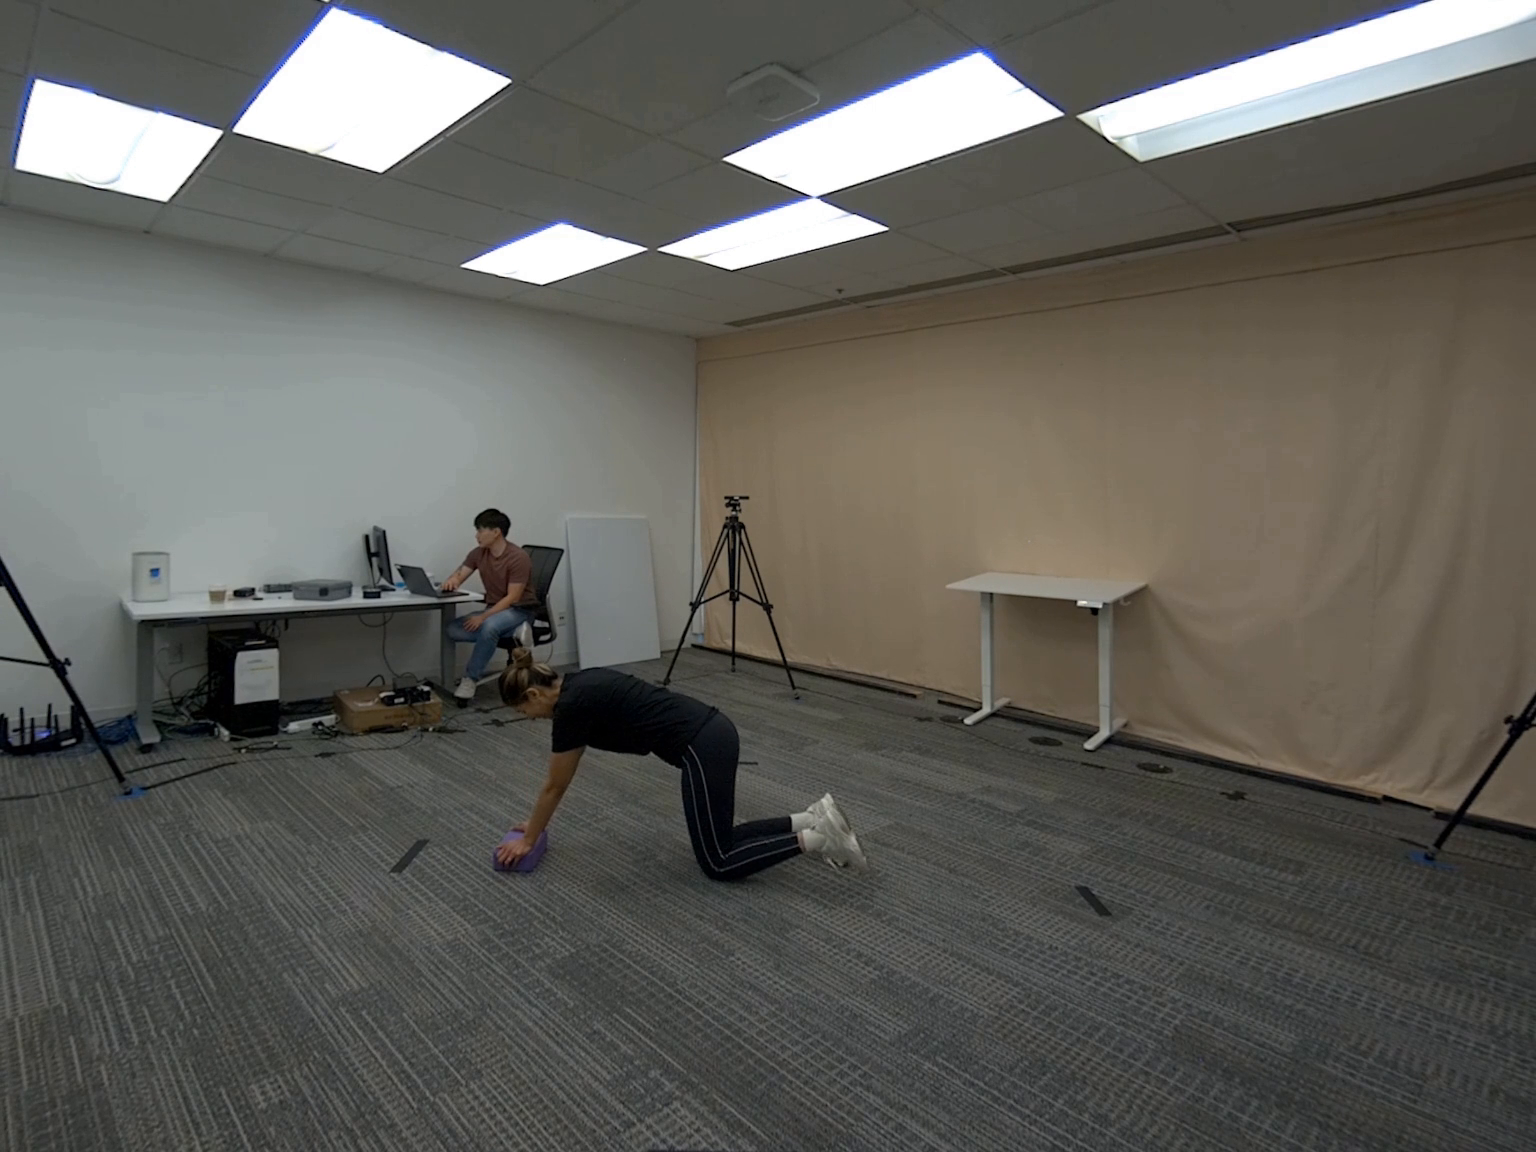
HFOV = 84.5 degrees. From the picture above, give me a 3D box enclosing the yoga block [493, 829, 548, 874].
[{"bbox_3d":[-0.938,1.034,3.202,0.149,0.076,0.229,1,5,1],"label":"yoga block"}]
